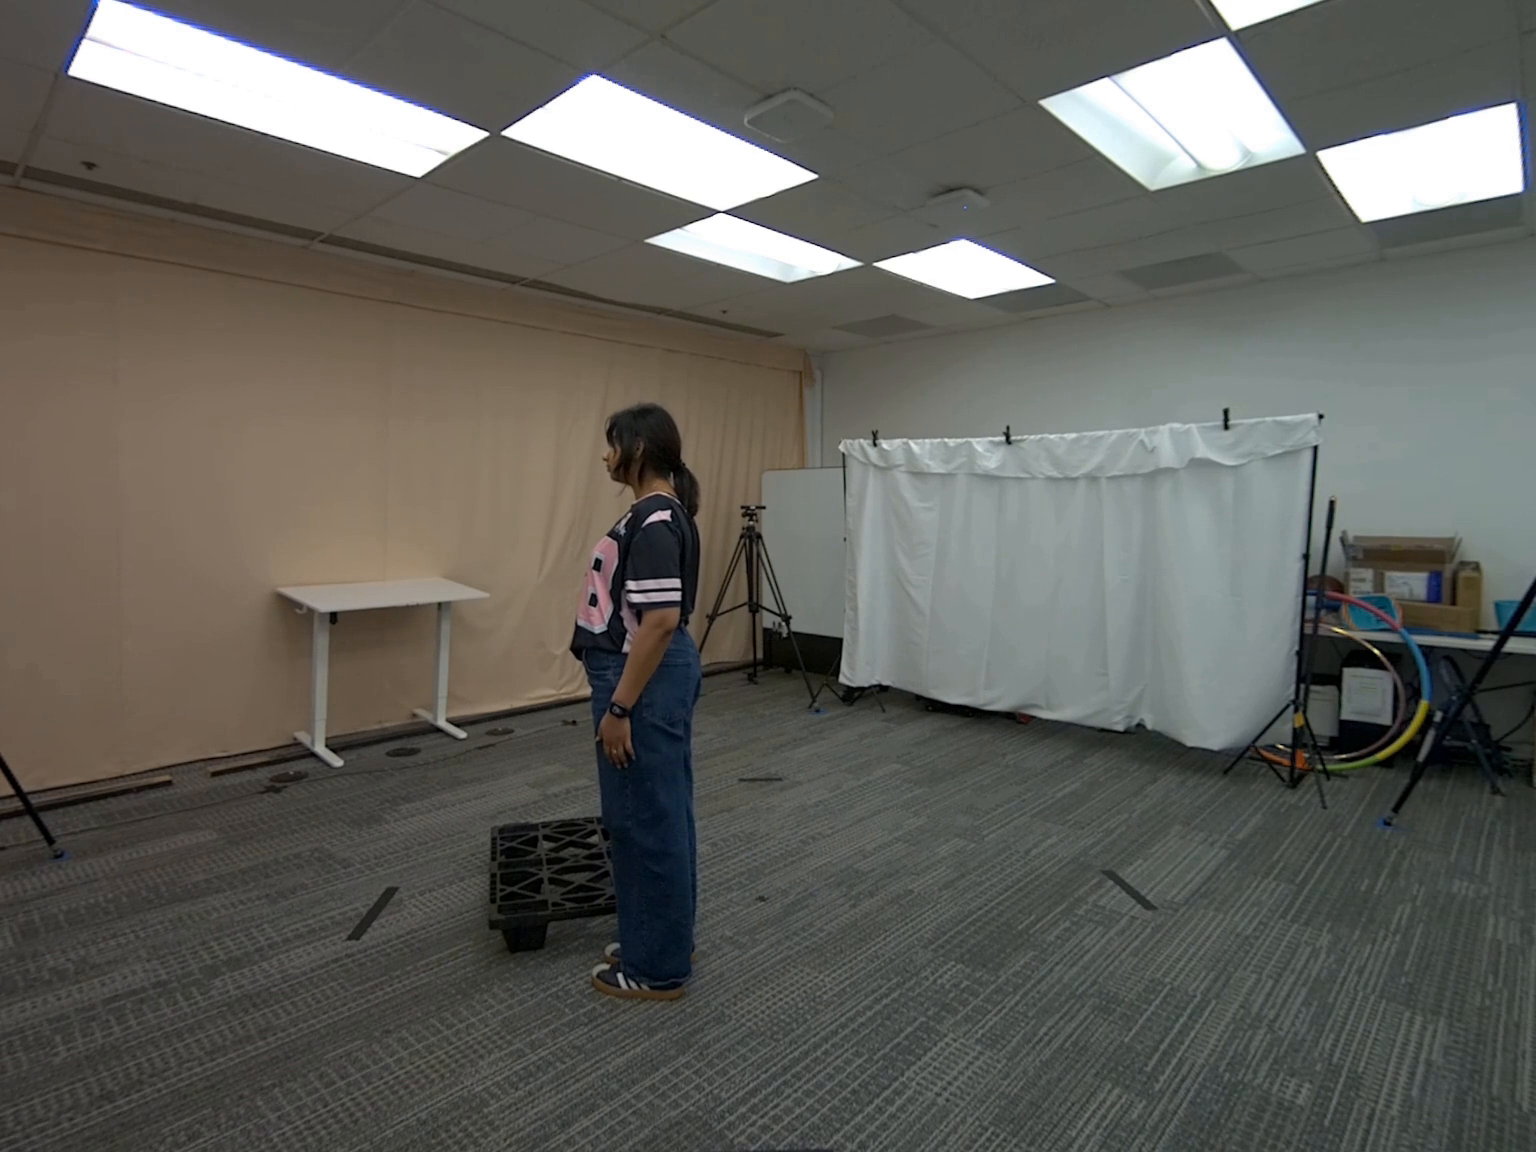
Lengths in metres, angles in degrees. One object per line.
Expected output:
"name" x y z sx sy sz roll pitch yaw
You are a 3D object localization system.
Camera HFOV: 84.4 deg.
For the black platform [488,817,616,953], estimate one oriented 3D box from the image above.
"black platform" -0.694 1.078 3.038 0.595 0.143 0.821 -2 5 -16
